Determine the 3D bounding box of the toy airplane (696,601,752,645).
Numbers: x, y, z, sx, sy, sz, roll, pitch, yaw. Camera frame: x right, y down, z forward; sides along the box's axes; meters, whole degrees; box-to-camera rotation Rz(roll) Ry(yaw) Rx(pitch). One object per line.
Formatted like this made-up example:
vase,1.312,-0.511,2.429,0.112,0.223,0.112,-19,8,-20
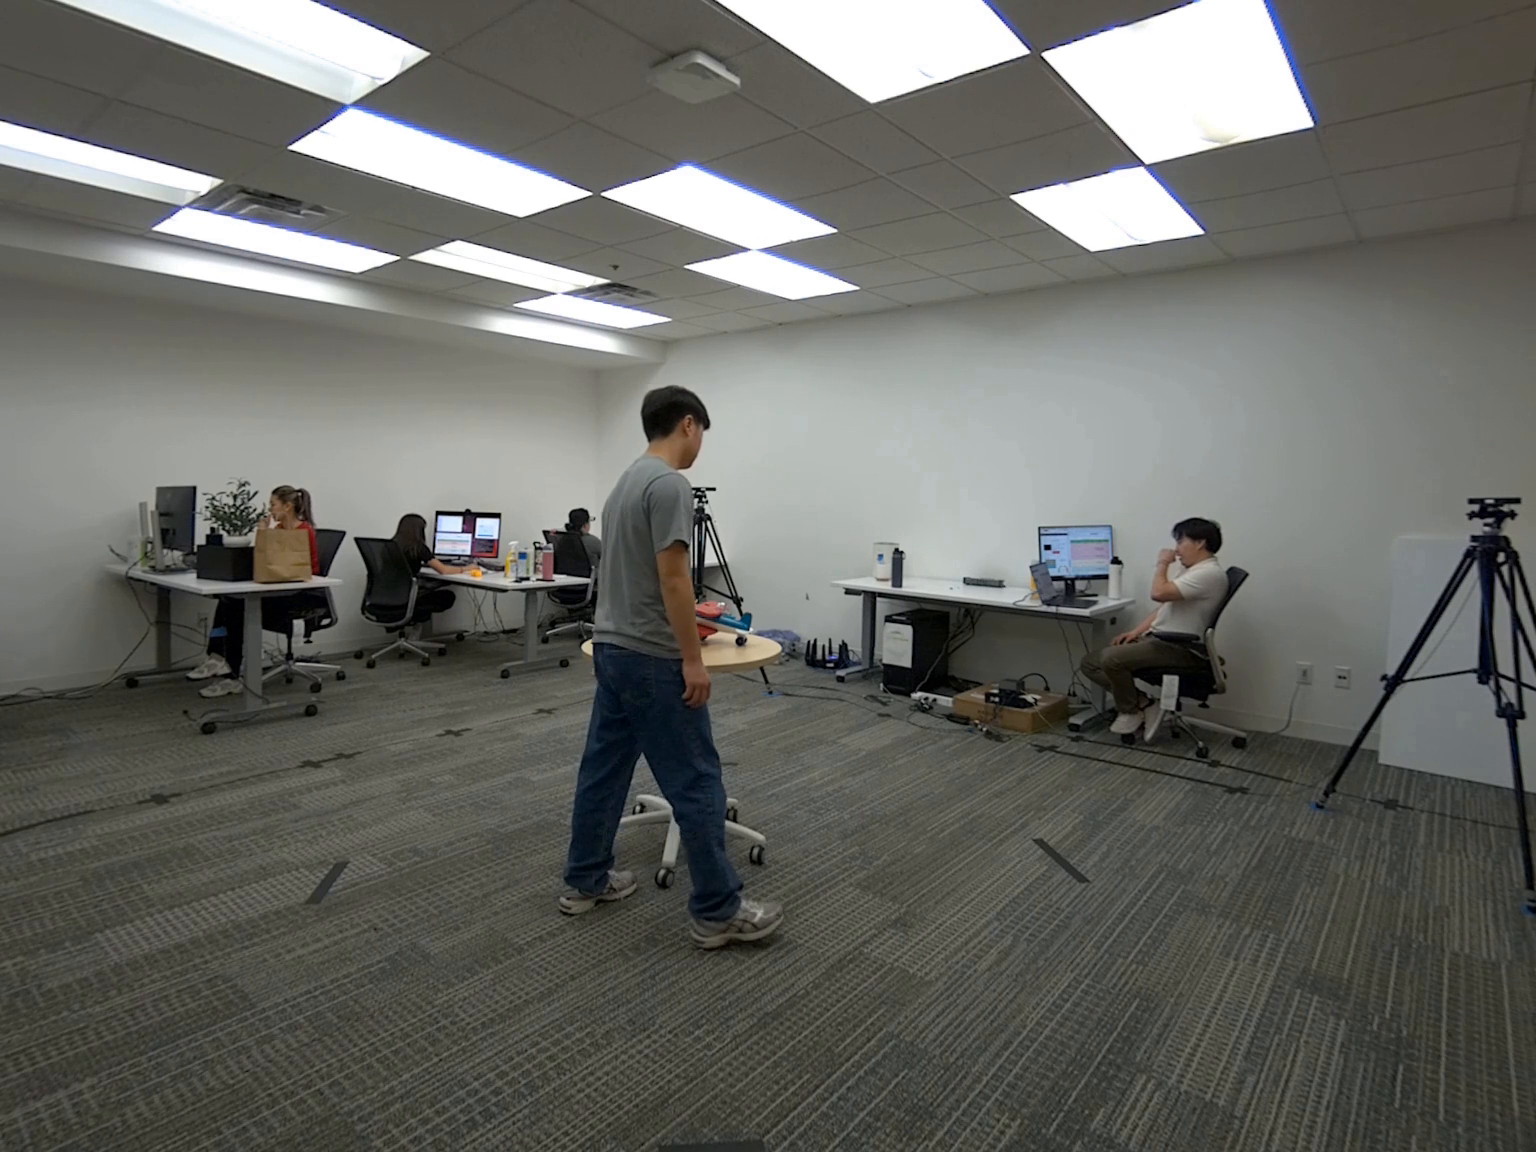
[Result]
toy airplane,-0.202,0.184,3.337,0.256,0.155,0.256,-1,6,-13
